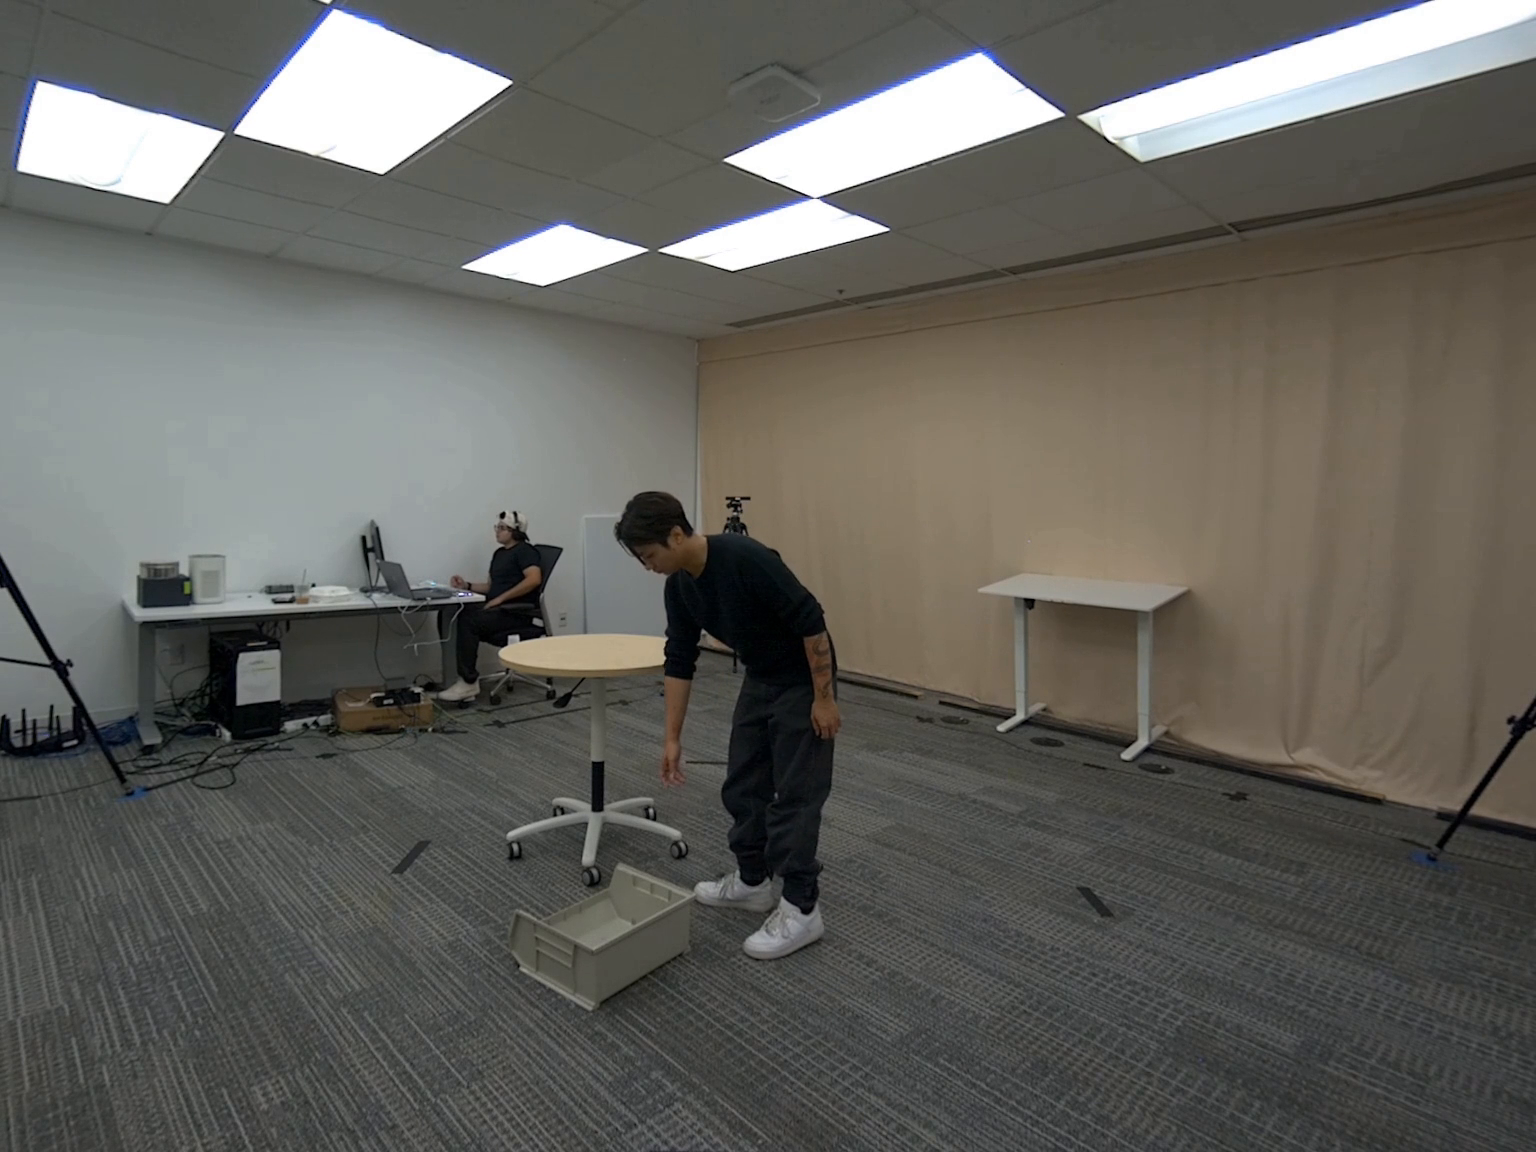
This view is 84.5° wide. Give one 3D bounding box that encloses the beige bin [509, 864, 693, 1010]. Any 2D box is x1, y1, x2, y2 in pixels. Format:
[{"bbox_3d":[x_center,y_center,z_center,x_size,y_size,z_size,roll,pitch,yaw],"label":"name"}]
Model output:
[{"bbox_3d":[-0.500,1.065,2.525,0.387,0.188,0.413,5,6,37],"label":"beige bin"}]
